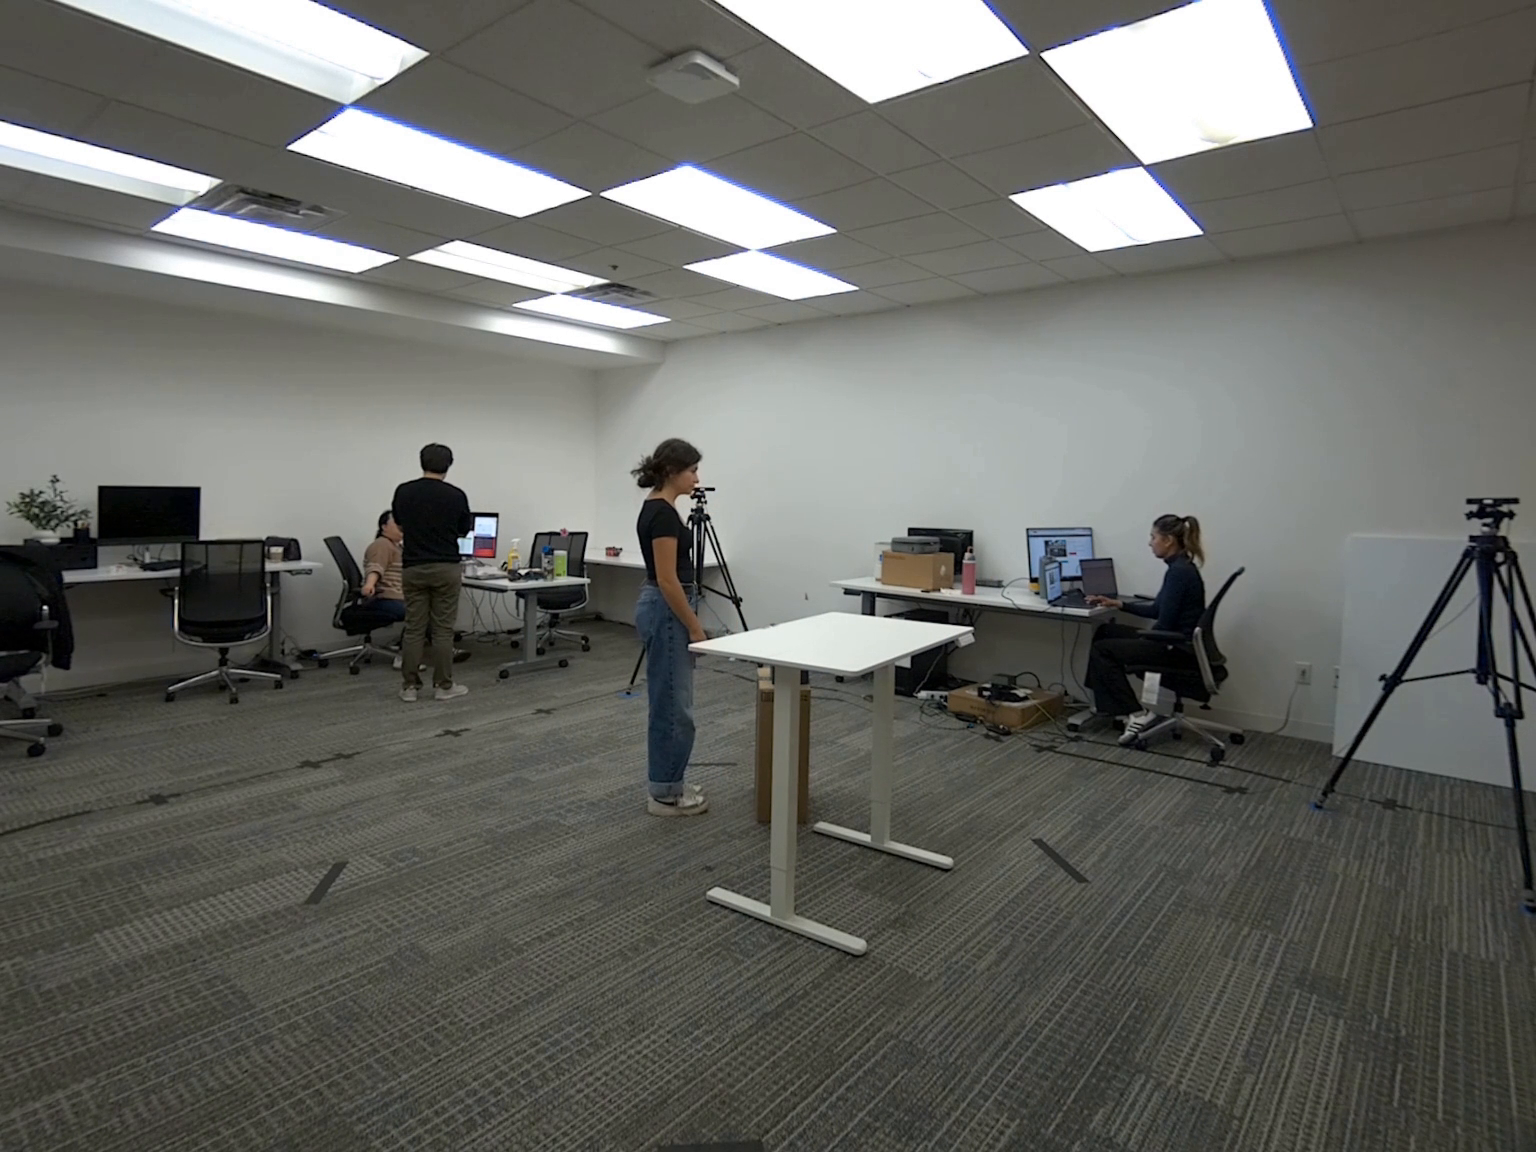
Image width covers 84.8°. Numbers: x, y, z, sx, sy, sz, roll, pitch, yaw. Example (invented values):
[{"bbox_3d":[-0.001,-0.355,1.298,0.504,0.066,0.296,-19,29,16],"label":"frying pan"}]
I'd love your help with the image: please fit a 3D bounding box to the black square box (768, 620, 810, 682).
[{"bbox_3d":[0.086,0.325,3.705,0.156,0.228,0.217,2,2,-1],"label":"black square box"}]
